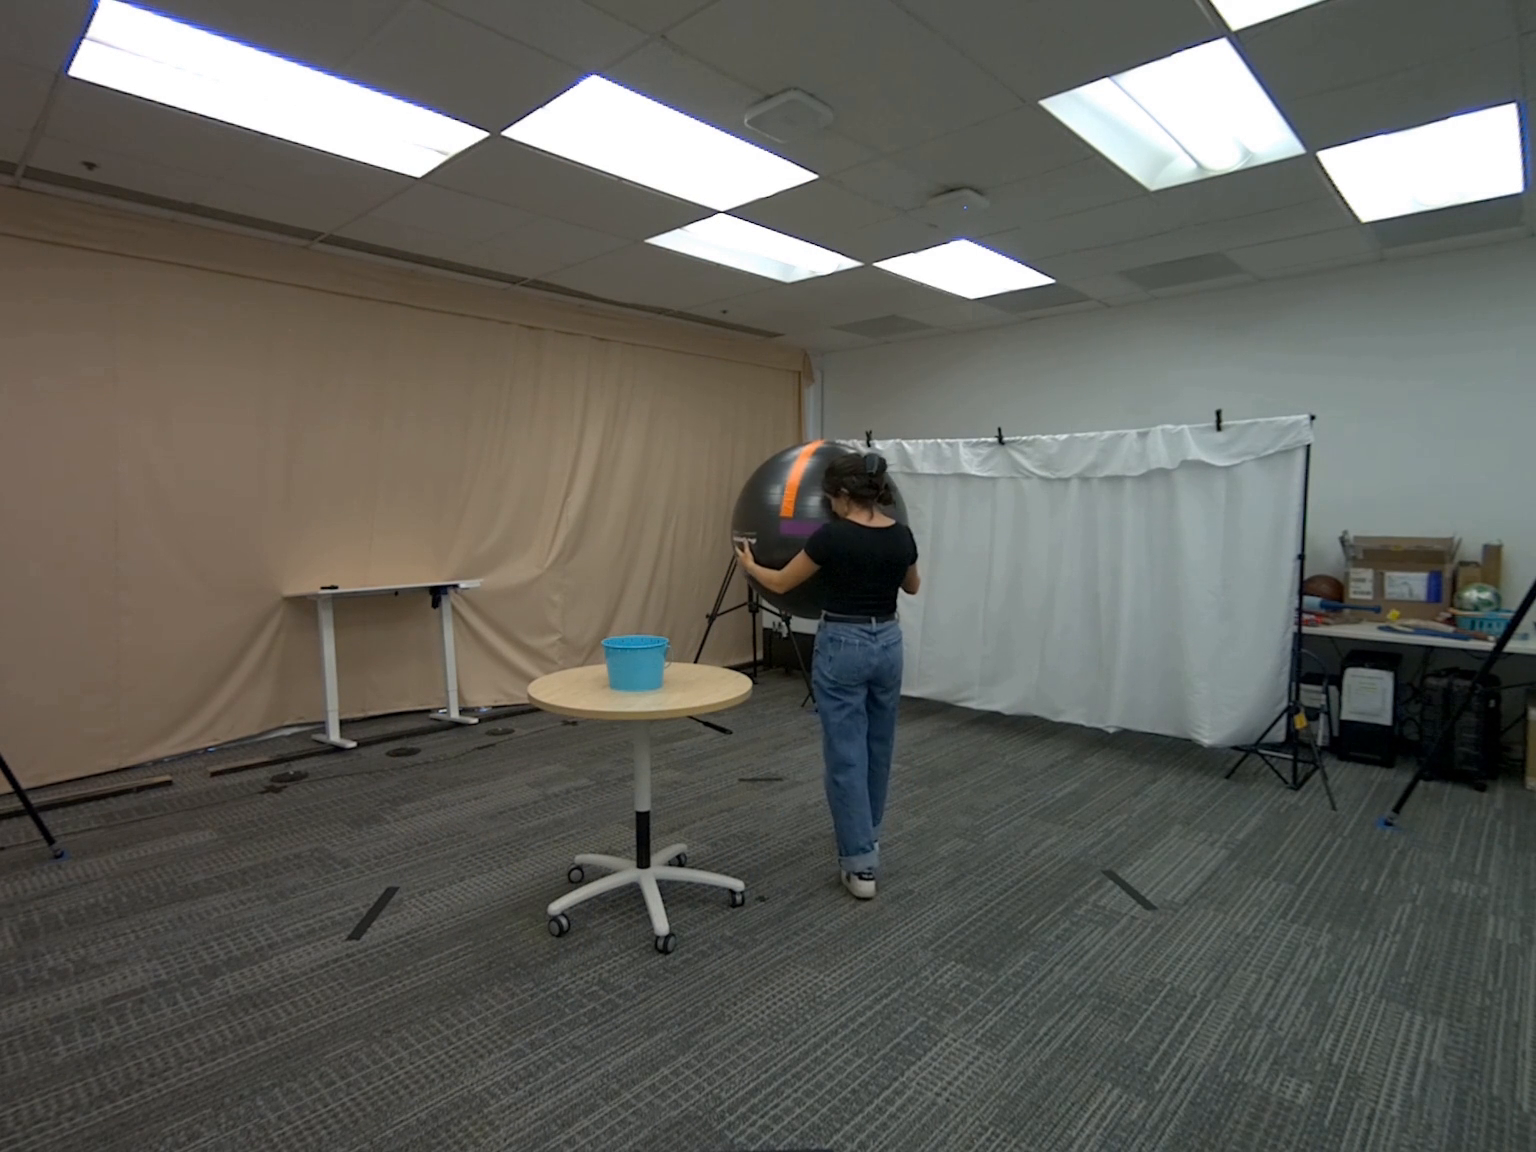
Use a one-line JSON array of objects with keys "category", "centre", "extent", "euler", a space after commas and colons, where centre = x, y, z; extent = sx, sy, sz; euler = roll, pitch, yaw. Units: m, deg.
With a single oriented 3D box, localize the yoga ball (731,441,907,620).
[{"category": "yoga ball", "centre": [0.219, -0.187, 3.624], "extent": [0.757, 0.756, 0.760], "euler": [0, 4, -2]}]
